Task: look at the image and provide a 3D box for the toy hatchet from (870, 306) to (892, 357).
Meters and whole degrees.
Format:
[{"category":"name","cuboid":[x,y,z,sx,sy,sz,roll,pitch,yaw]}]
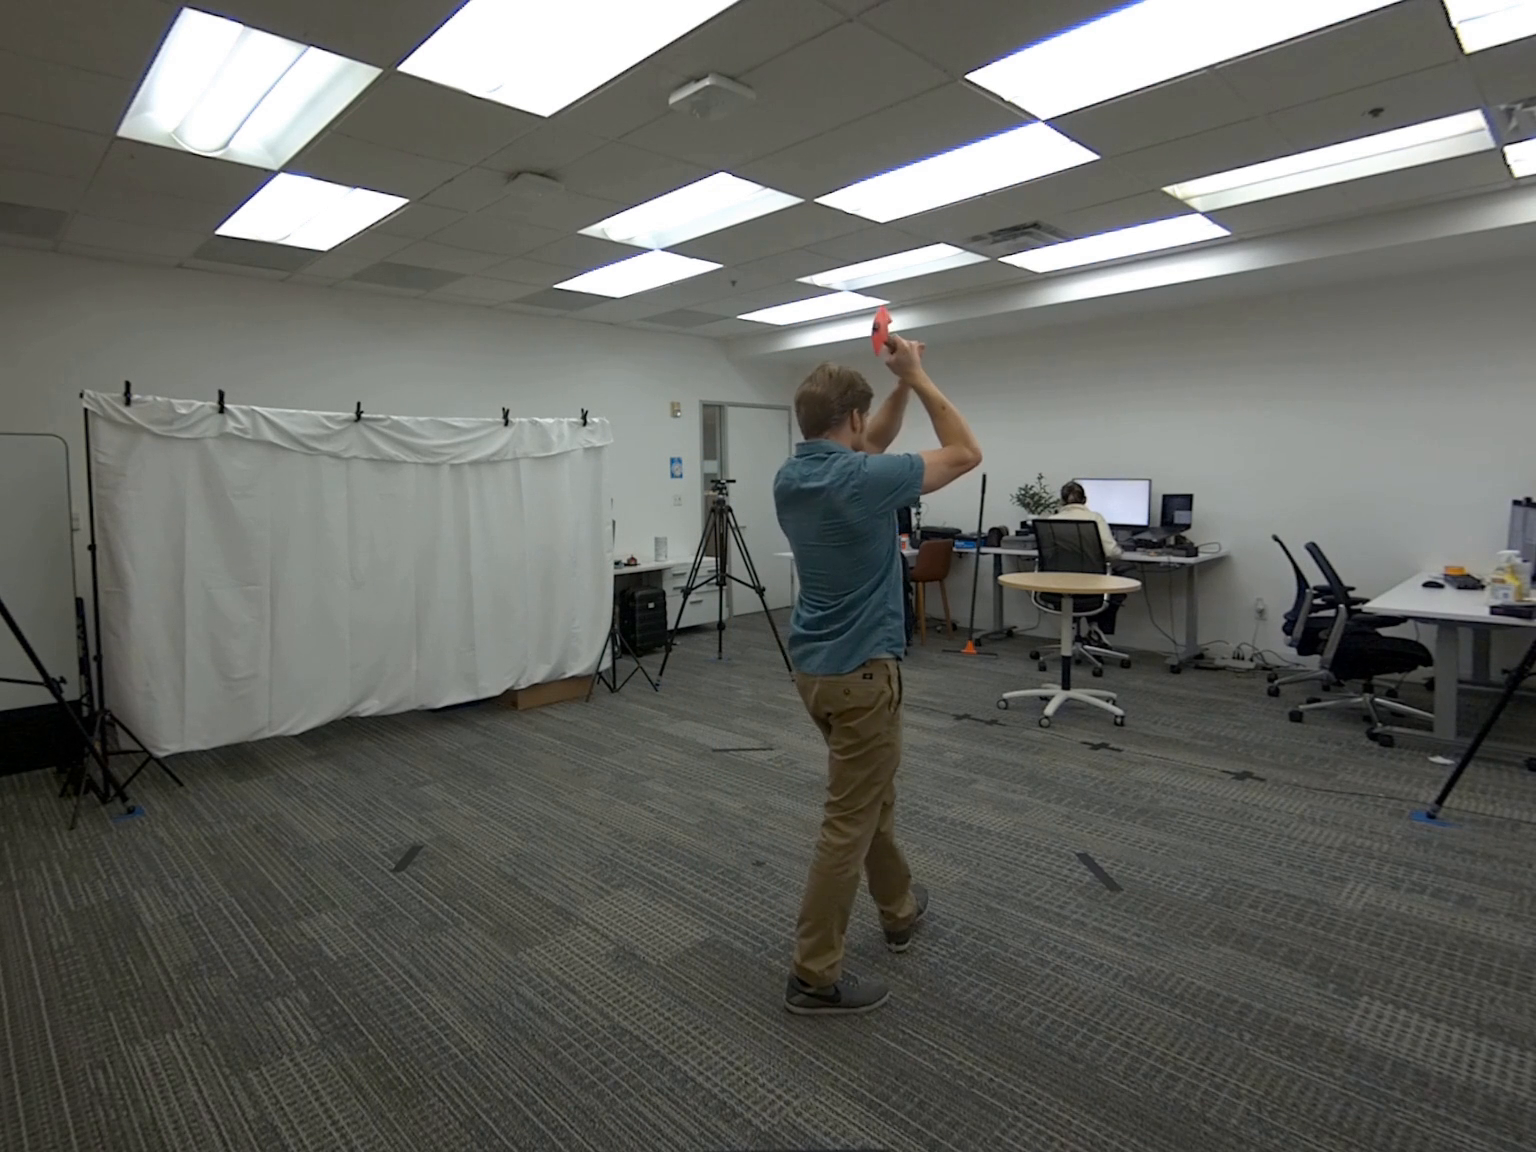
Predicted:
[{"category":"toy hatchet","cuboid":[0.325,-0.631,2.211,0.030,0.130,0.265,-2,8,32]}]
